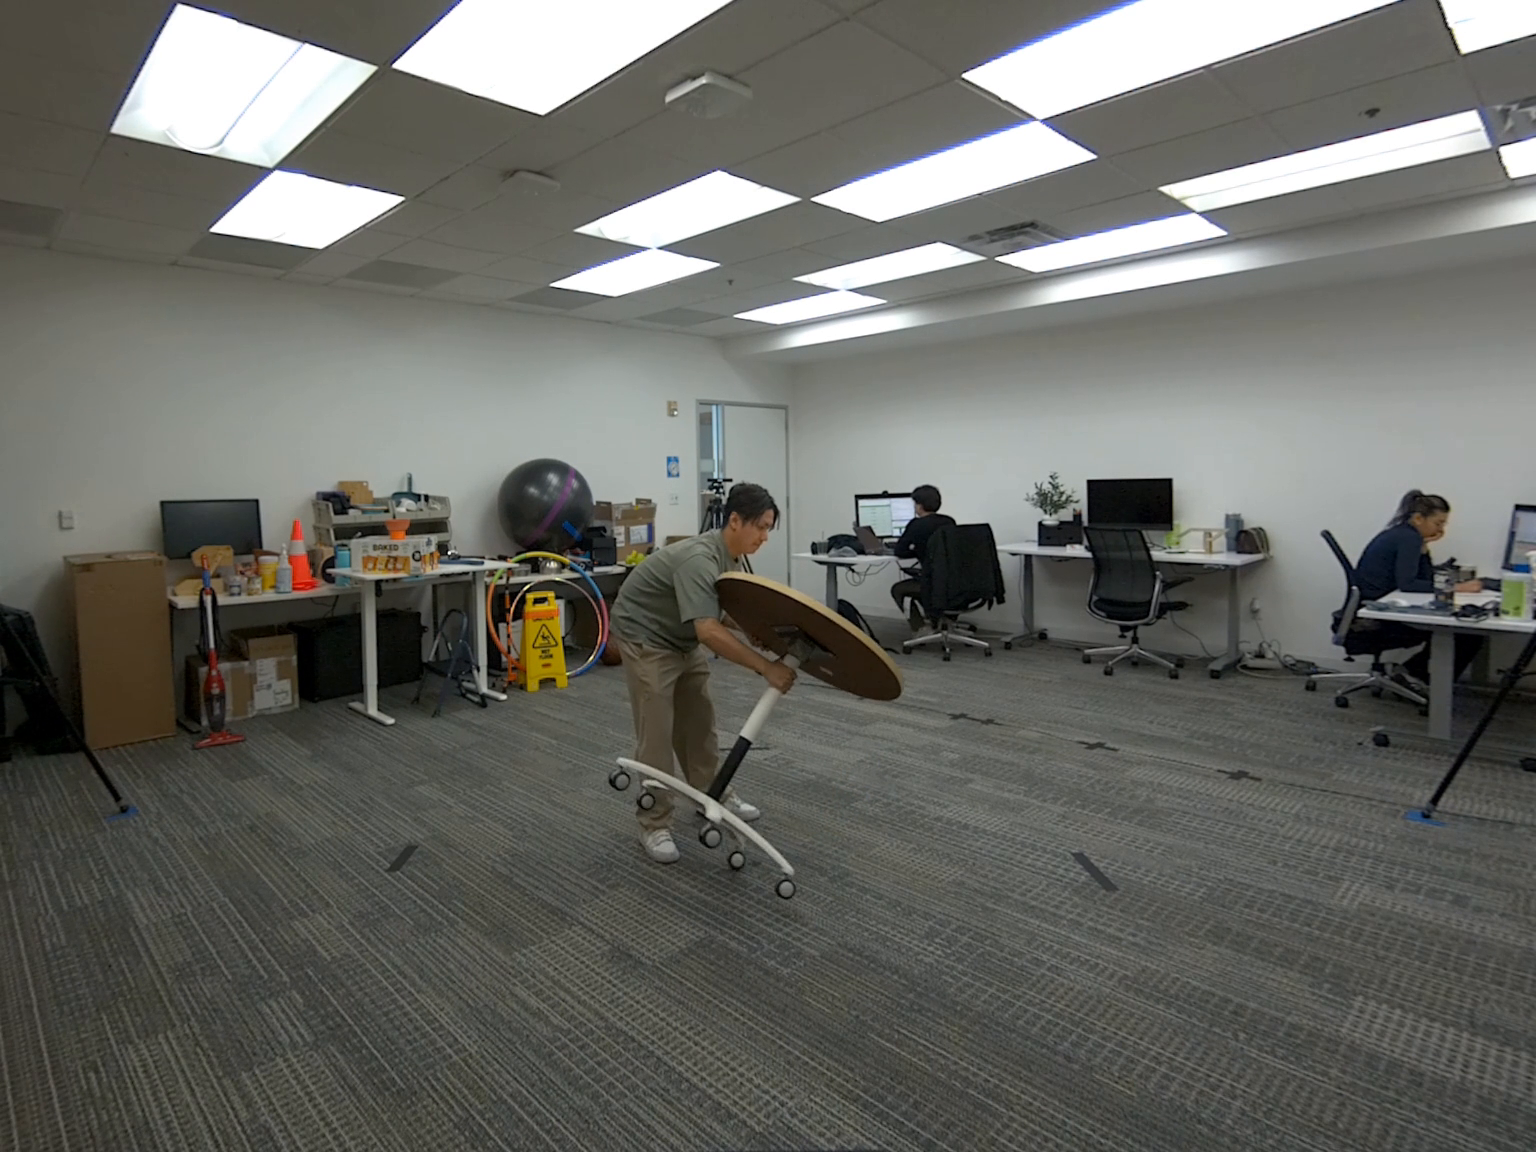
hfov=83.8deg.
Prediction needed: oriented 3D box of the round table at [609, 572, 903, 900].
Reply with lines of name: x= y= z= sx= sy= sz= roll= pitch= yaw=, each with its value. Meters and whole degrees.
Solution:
round table: x=-0.048 y=0.547 z=2.946 sx=0.795 sy=0.790 sz=0.772 roll=29 pitch=-18 yaw=8
